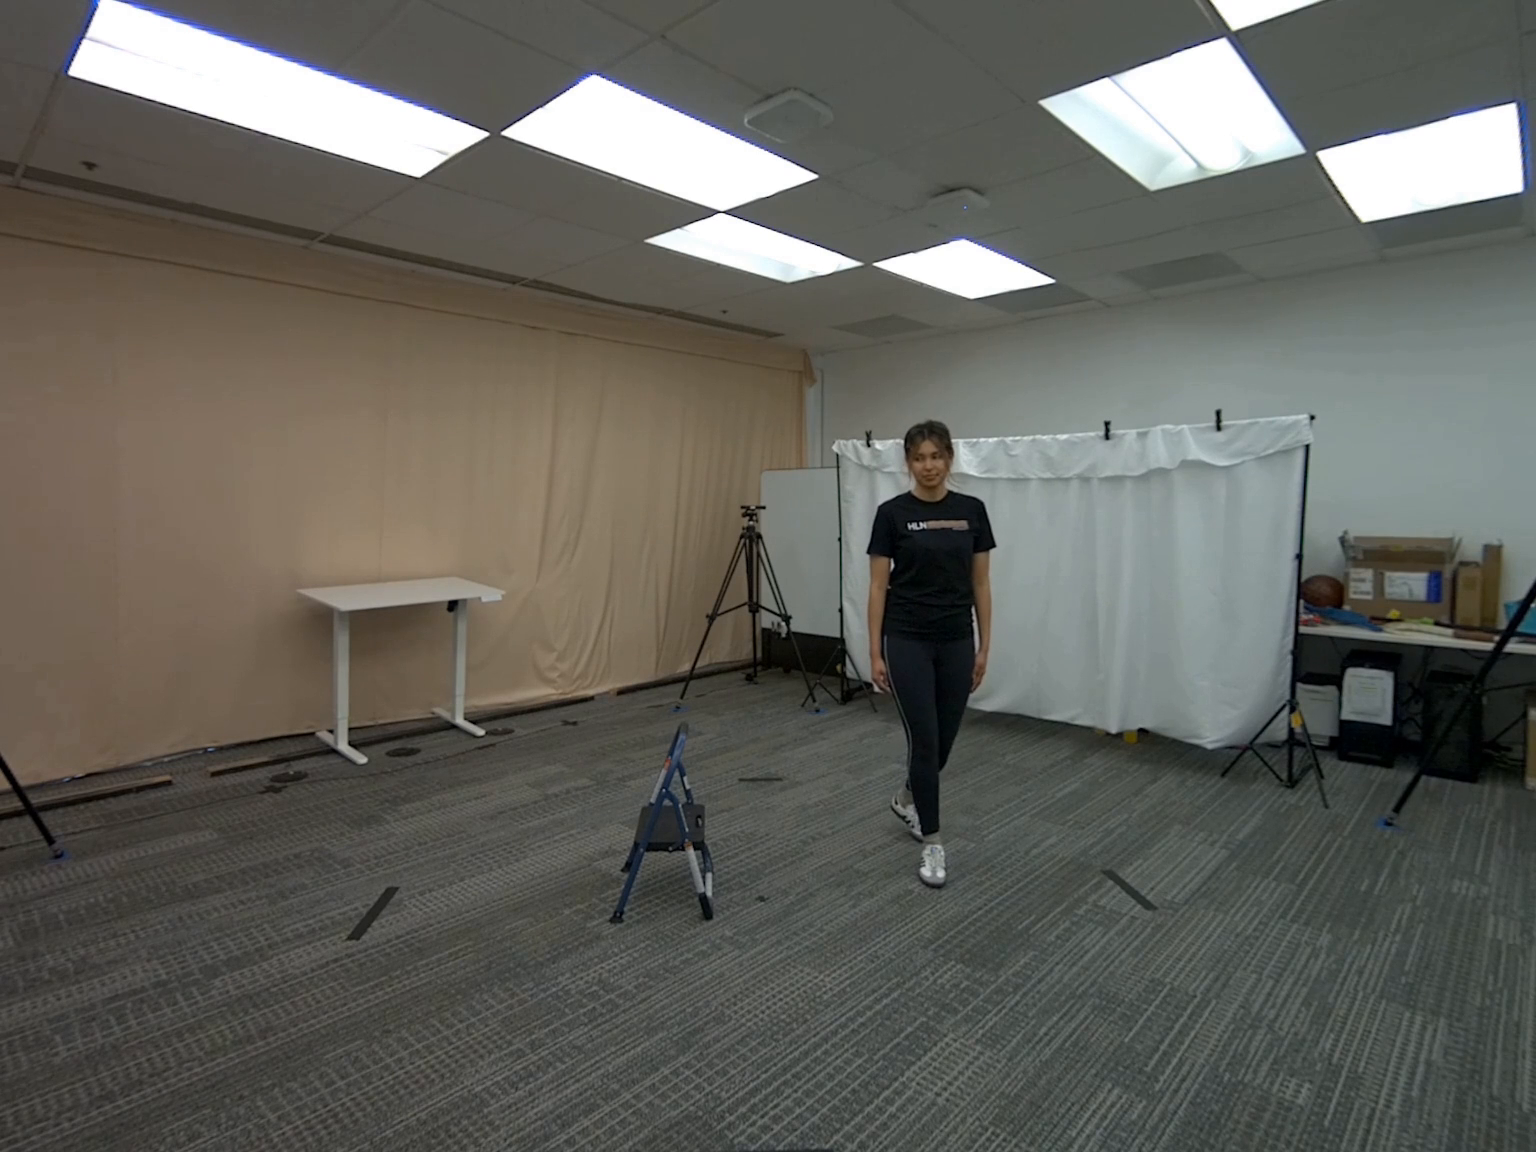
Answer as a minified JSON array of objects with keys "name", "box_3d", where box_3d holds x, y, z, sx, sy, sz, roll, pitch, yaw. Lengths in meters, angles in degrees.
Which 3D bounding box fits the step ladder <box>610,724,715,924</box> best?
[{"name":"step ladder","box_3d":[-0.368,0.844,3.011,0.348,0.605,0.433,0,4,-4]}]
